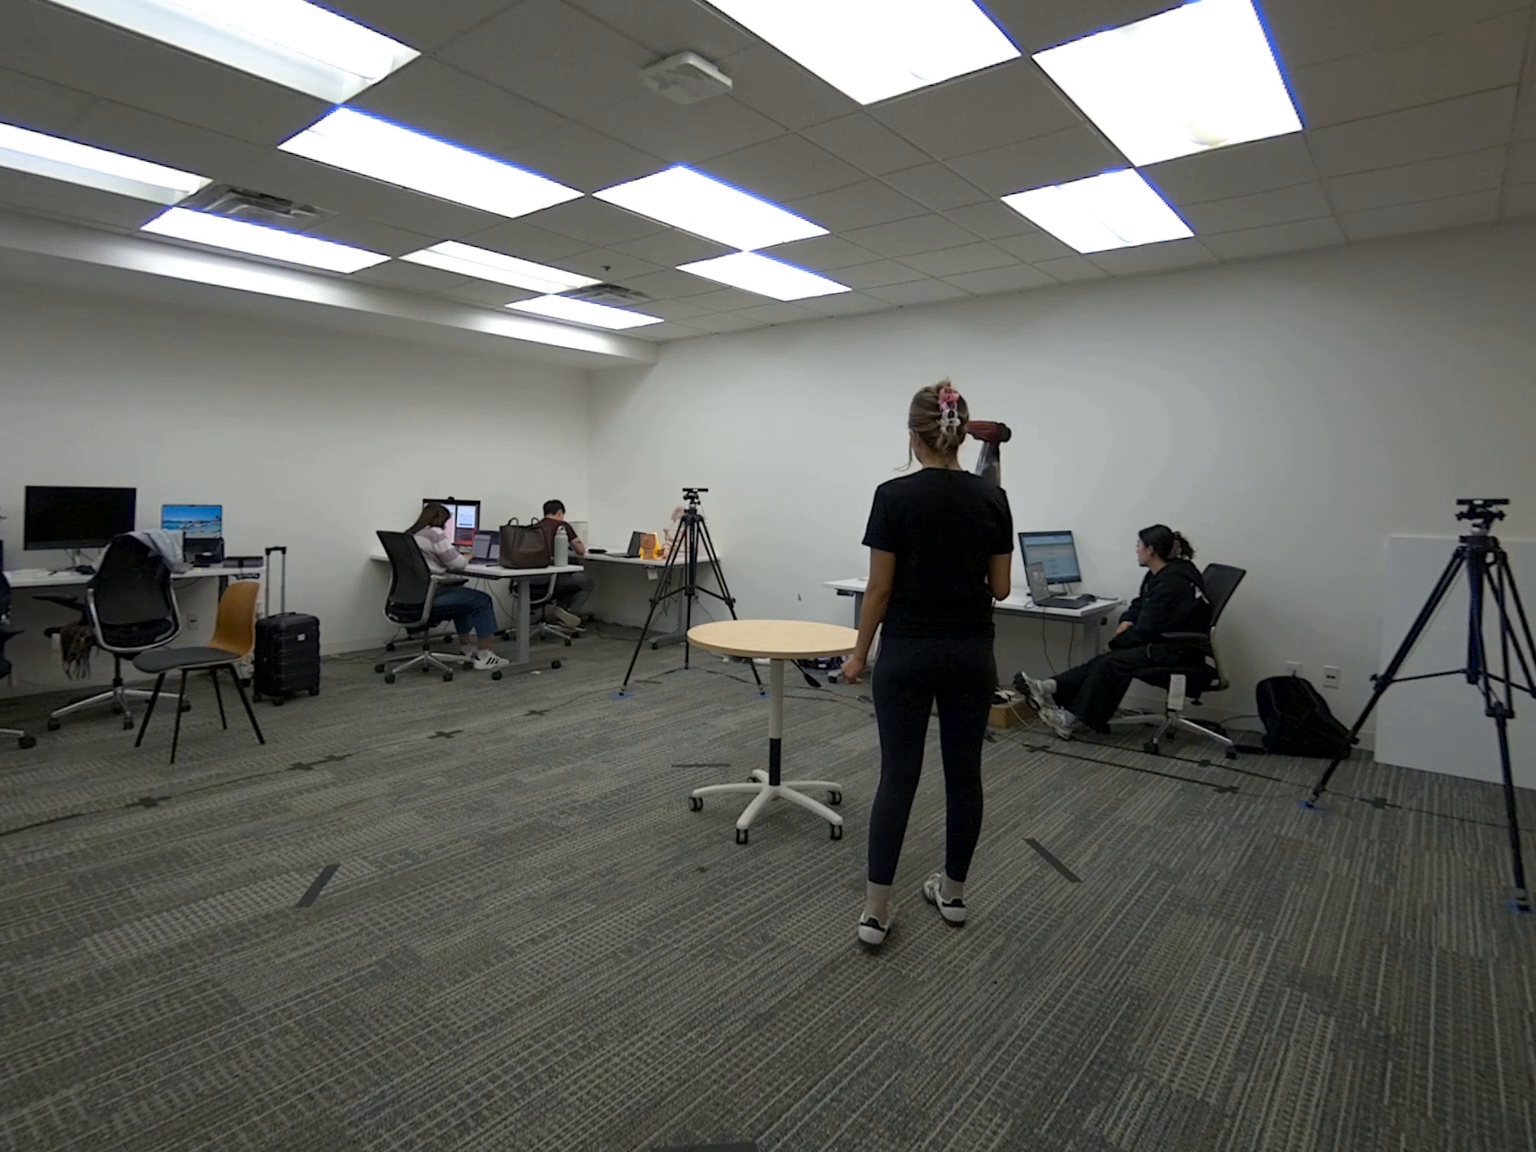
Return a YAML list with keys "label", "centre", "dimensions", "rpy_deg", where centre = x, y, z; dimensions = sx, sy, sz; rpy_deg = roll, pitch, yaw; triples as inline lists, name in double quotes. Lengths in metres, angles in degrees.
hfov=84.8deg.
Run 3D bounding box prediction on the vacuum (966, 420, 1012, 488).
- label: "vacuum"
  centre: [0.745, -0.019, 3.033]
  dimensions: [0.141, 1.036, 0.261]
  rpy_deg: [-7, 14, -26]
